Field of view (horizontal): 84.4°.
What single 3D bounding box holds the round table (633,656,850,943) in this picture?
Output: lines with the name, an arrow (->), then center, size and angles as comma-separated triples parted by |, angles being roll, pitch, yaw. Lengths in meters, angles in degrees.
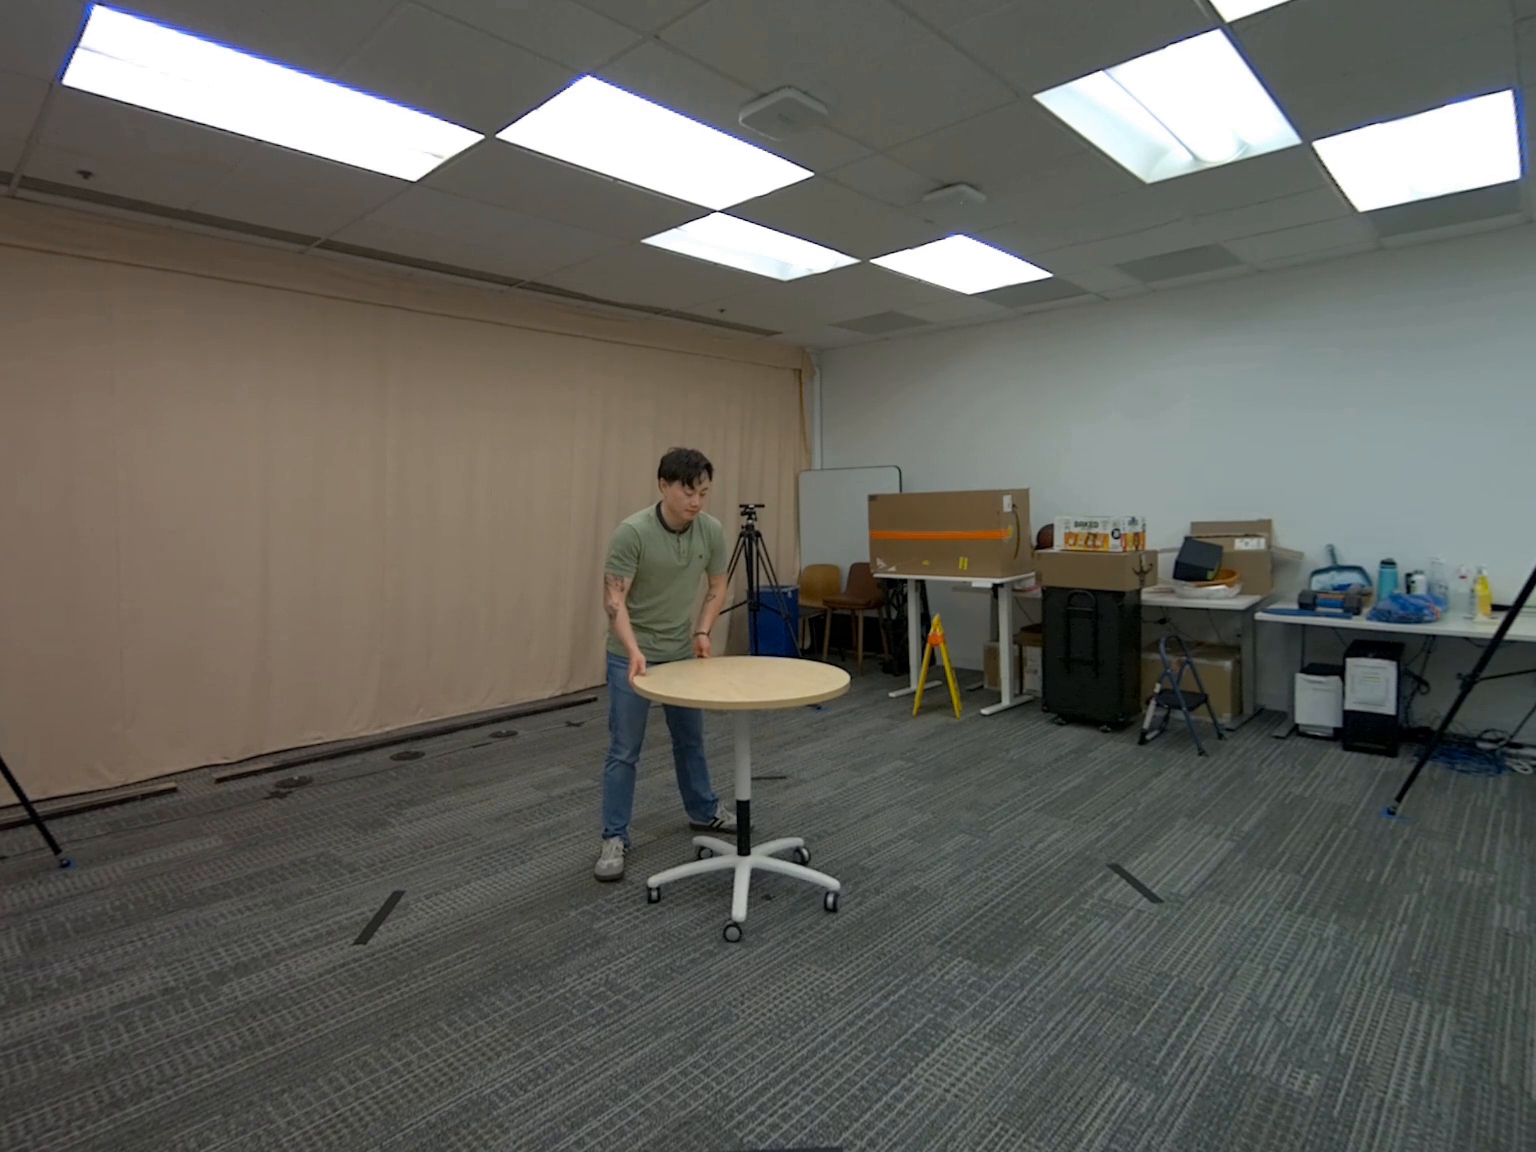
round table -> -0.079, 0.749, 3.004 | 0.763, 0.792, 0.767 | -1, 4, -2
